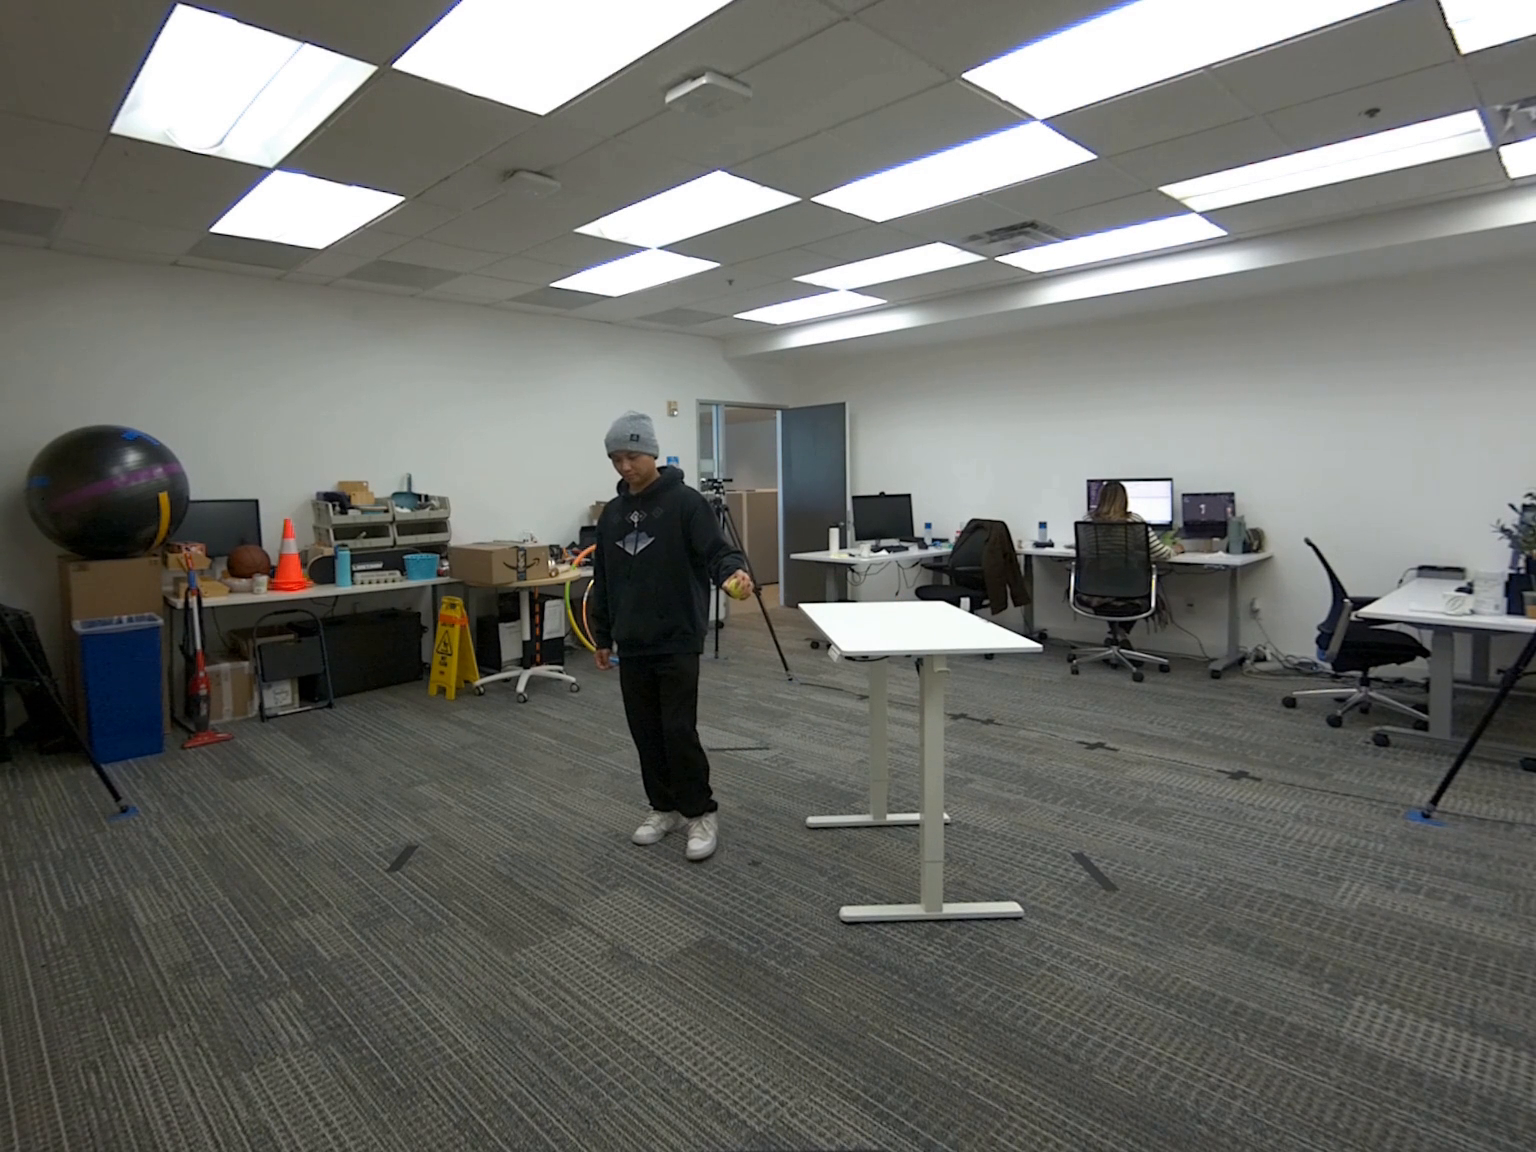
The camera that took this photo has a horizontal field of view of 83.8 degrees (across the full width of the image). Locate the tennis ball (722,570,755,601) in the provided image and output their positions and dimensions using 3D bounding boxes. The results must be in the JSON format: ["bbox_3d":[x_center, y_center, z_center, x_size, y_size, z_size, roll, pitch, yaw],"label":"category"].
[{"bbox_3d":[-0.090,0.036,2.838,0.066,0.066,0.067,-1,5,-2],"label":"tennis ball"}]
